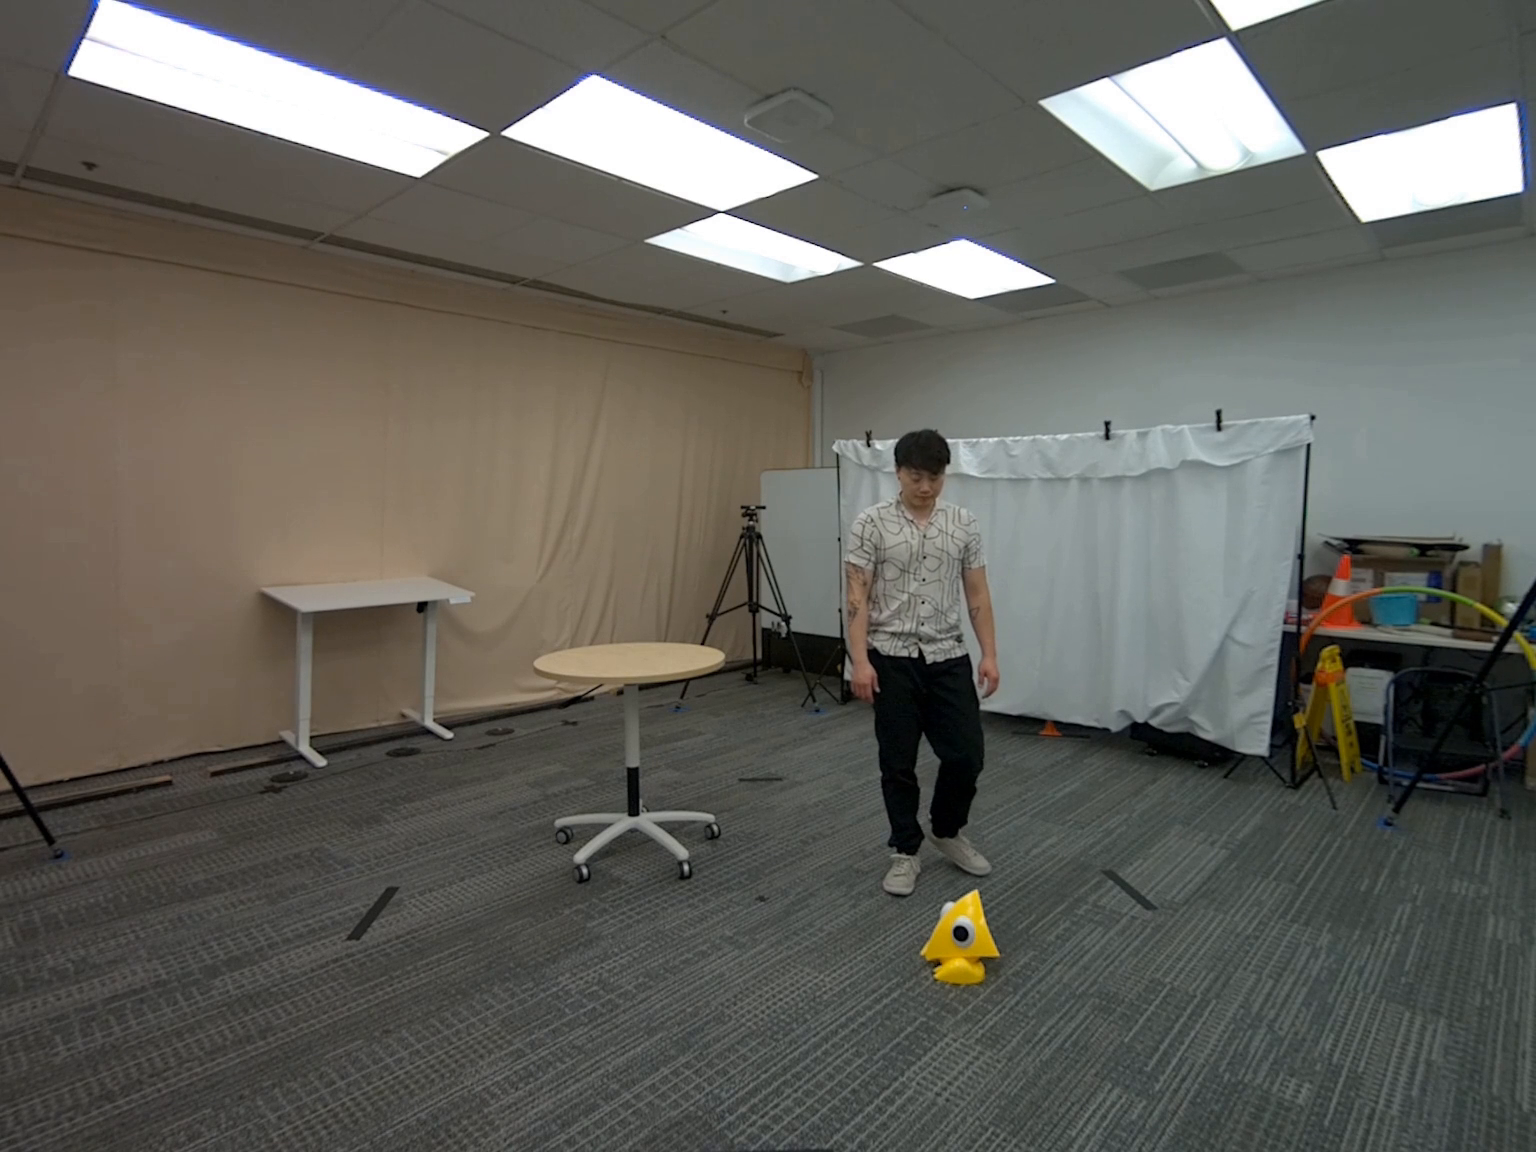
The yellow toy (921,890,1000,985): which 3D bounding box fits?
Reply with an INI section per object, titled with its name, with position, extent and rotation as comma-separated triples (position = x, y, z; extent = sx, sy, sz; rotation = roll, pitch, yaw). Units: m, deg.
[yellow toy]
position = 0.574, 1.066, 2.539
extent = 0.192, 0.230, 0.206
rotation = 1, 3, -6
